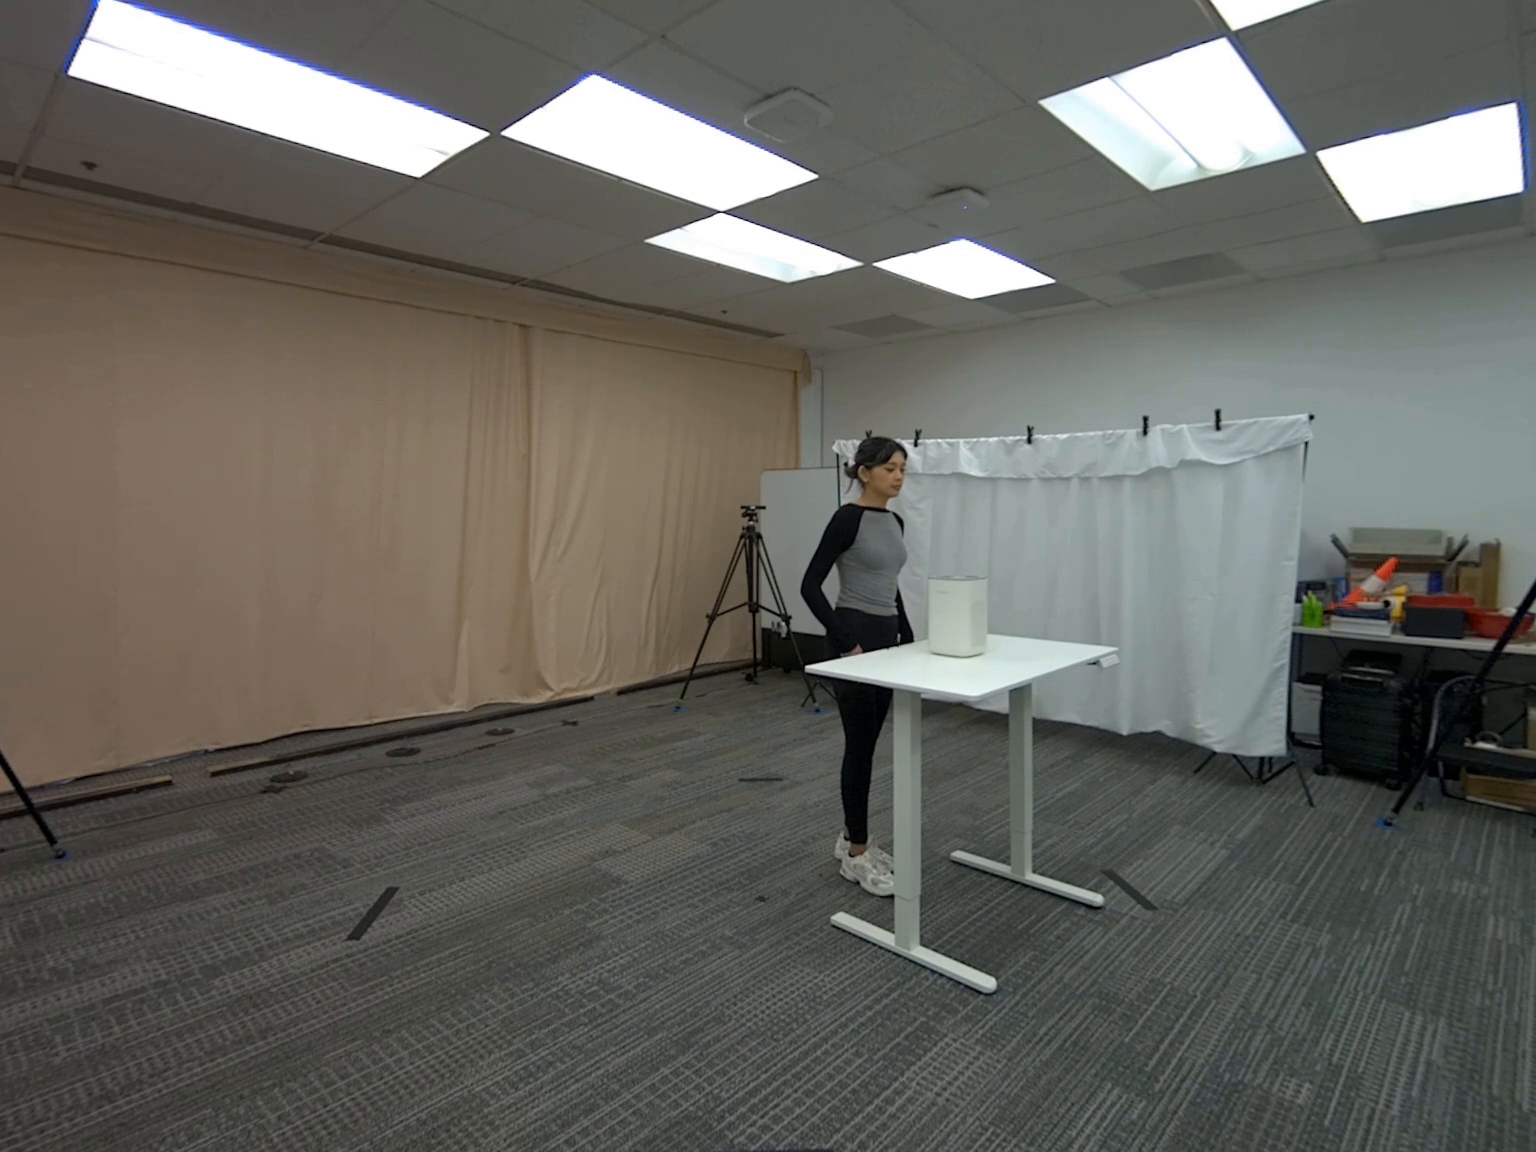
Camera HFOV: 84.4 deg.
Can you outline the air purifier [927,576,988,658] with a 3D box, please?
[{"bbox_3d":[0.667,0.137,2.875,0.166,0.264,0.177,-5,7,-44],"label":"air purifier"}]
